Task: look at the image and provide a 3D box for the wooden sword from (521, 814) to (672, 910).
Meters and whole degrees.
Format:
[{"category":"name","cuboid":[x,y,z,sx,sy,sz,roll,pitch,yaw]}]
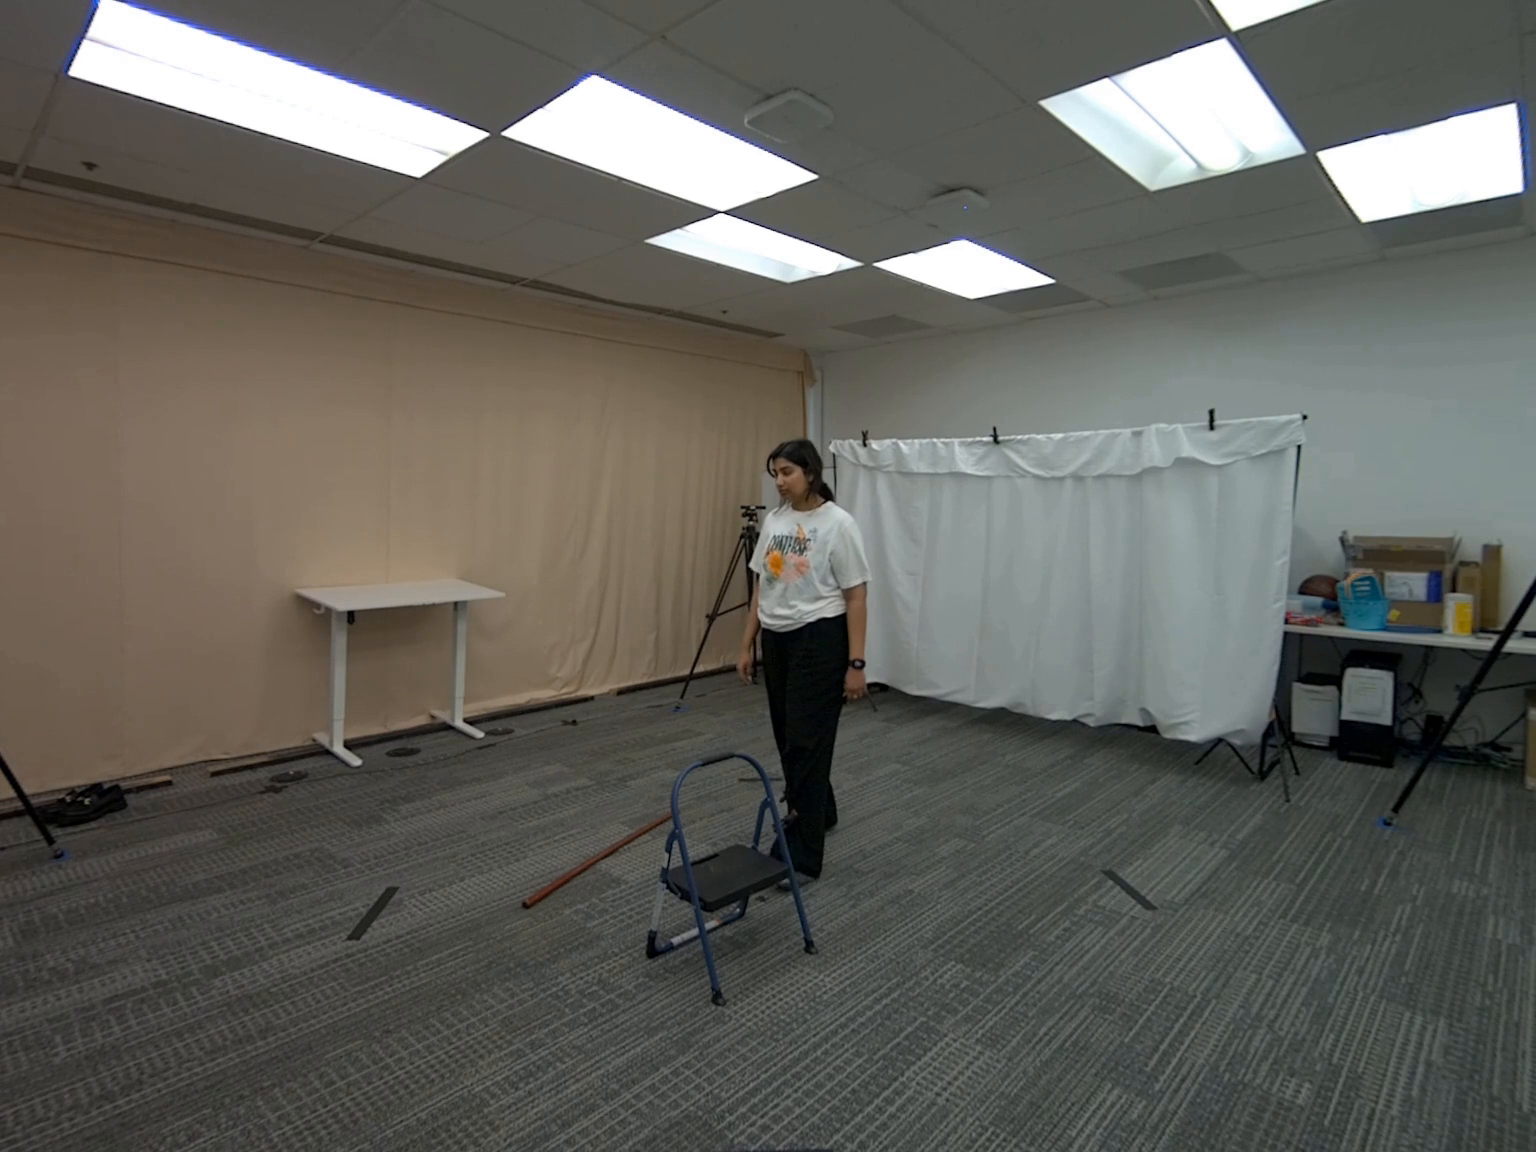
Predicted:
[{"category":"wooden sword","cuboid":[-0.632,1.094,3.362,0.053,0.024,1.000,17,12,24]}]
